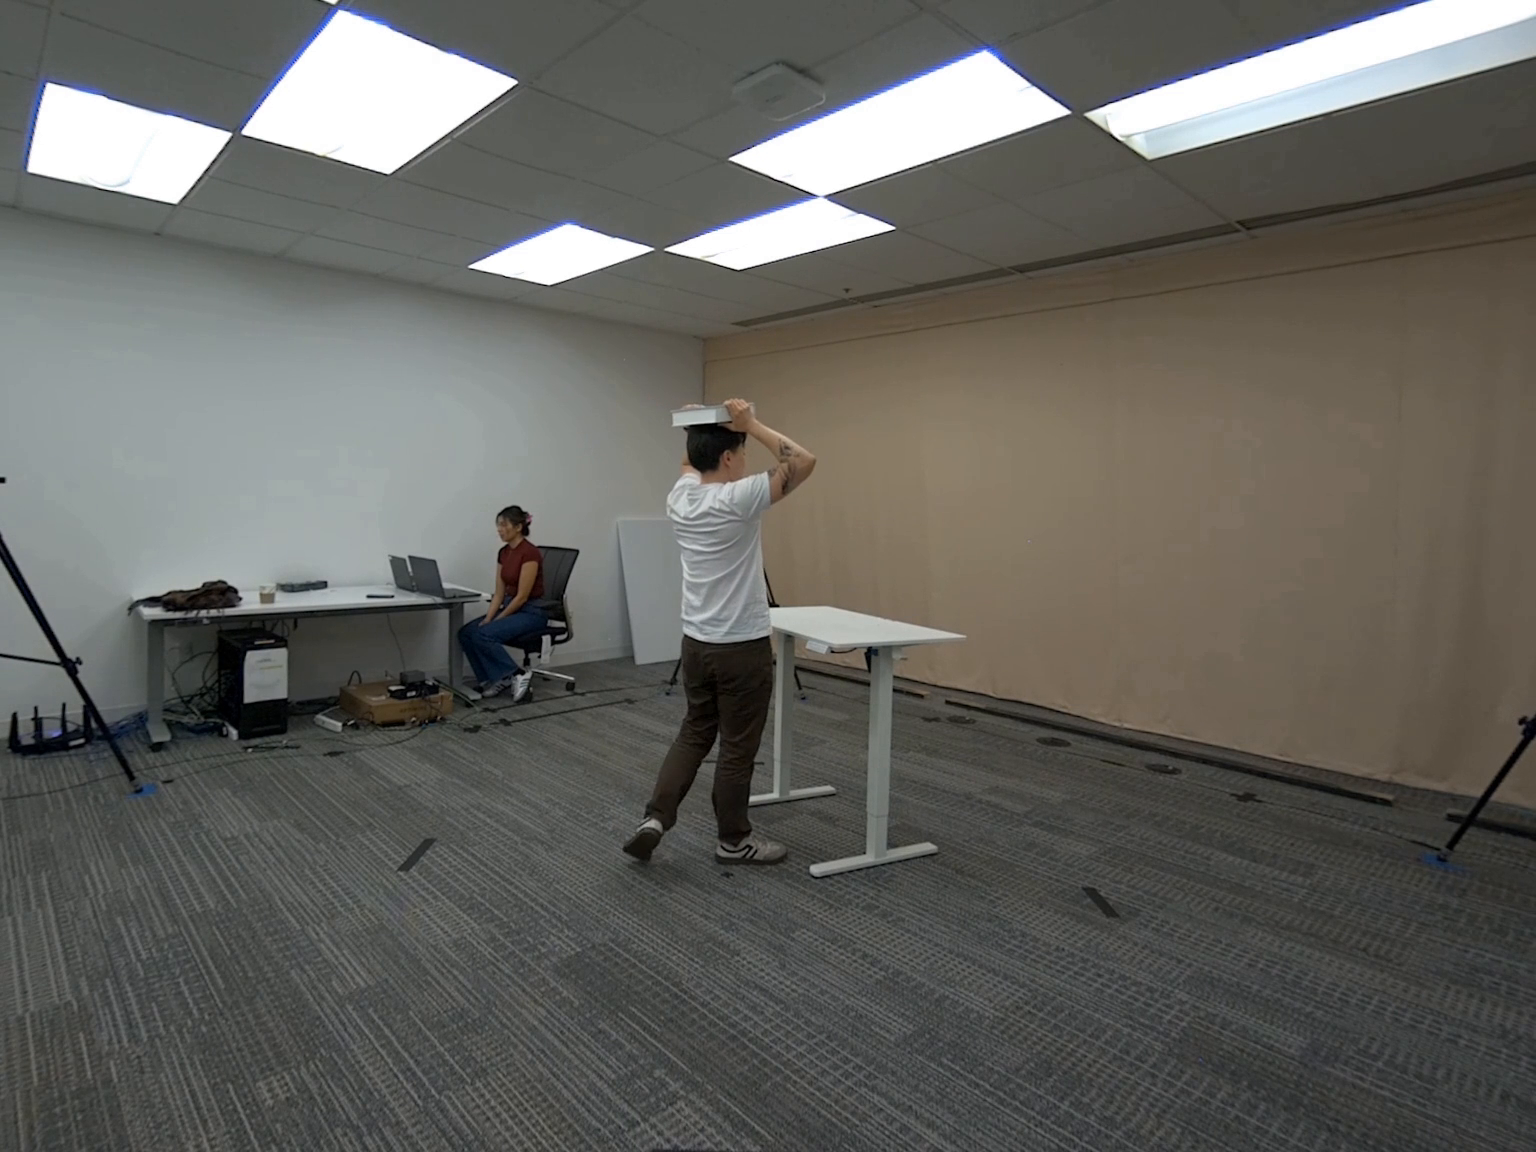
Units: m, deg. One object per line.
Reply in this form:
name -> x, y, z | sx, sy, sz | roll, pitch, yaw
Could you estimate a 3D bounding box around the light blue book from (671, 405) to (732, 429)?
light blue book -> -0.208, -0.588, 3.070 | 0.188, 0.058, 0.268 | -11, 12, -37
